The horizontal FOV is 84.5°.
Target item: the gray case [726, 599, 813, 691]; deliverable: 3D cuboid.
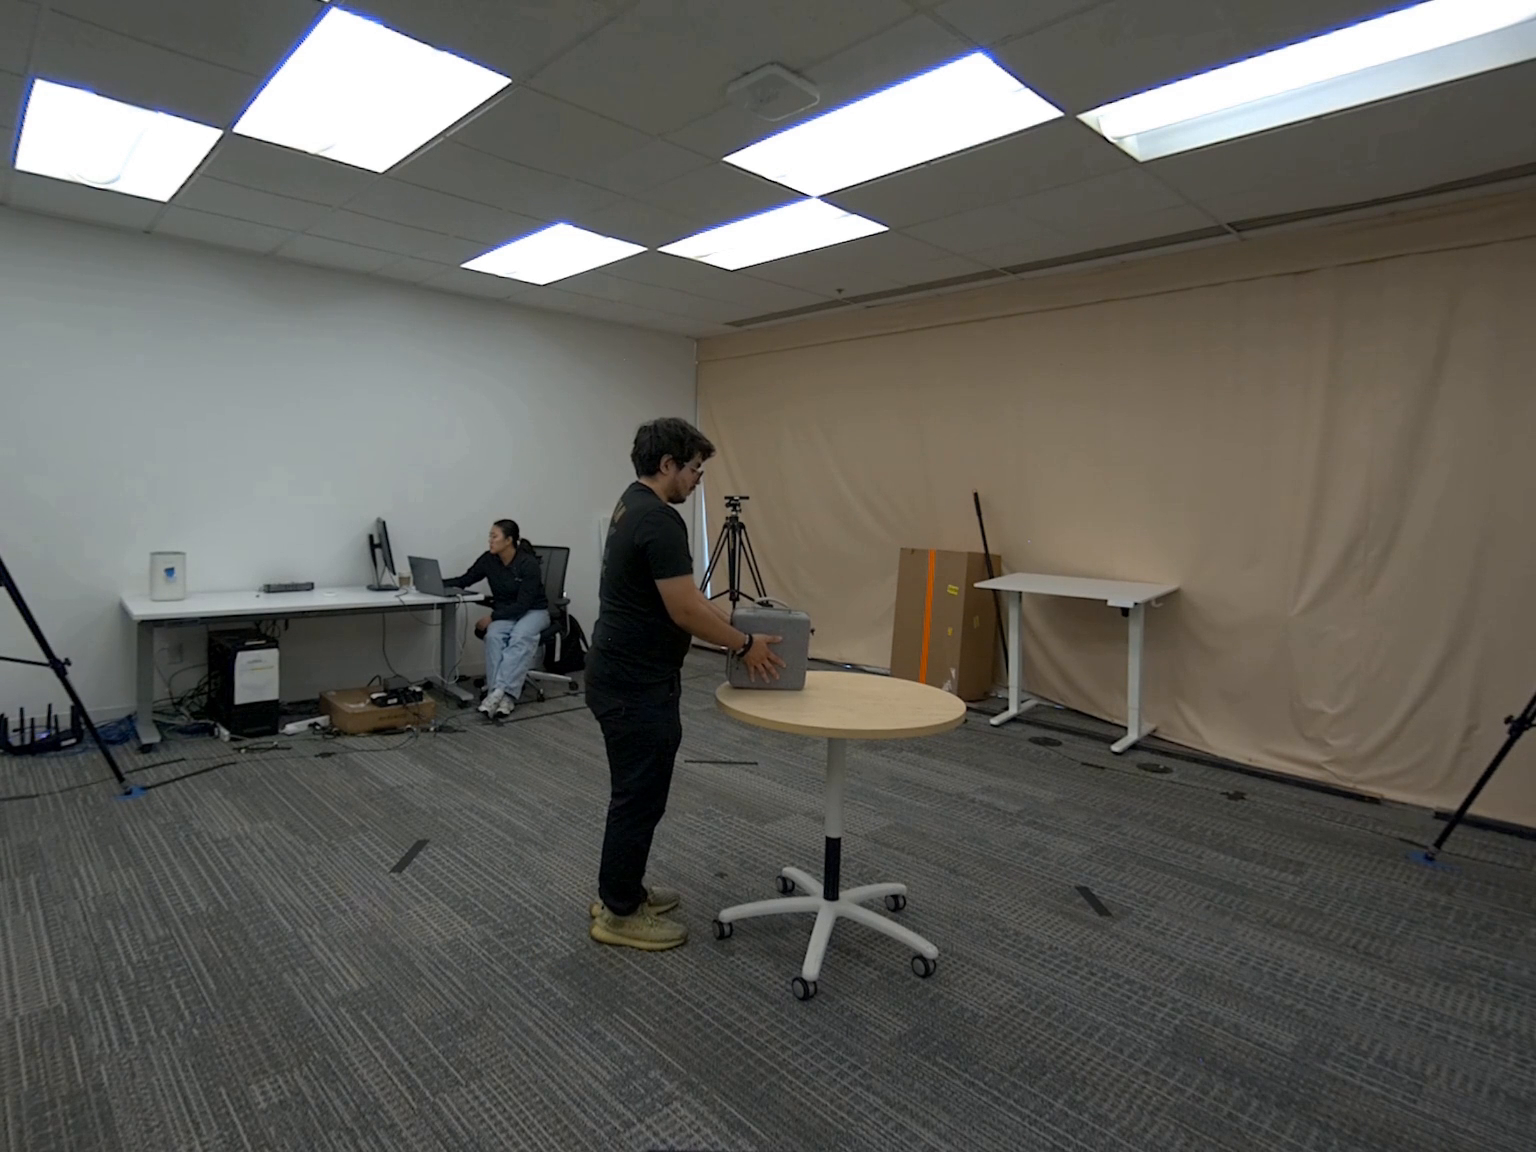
[{"bbox_3d":[-0.003,0.233,2.684,0.256,0.259,0.105,3,9,-3],"label":"gray case"}]
